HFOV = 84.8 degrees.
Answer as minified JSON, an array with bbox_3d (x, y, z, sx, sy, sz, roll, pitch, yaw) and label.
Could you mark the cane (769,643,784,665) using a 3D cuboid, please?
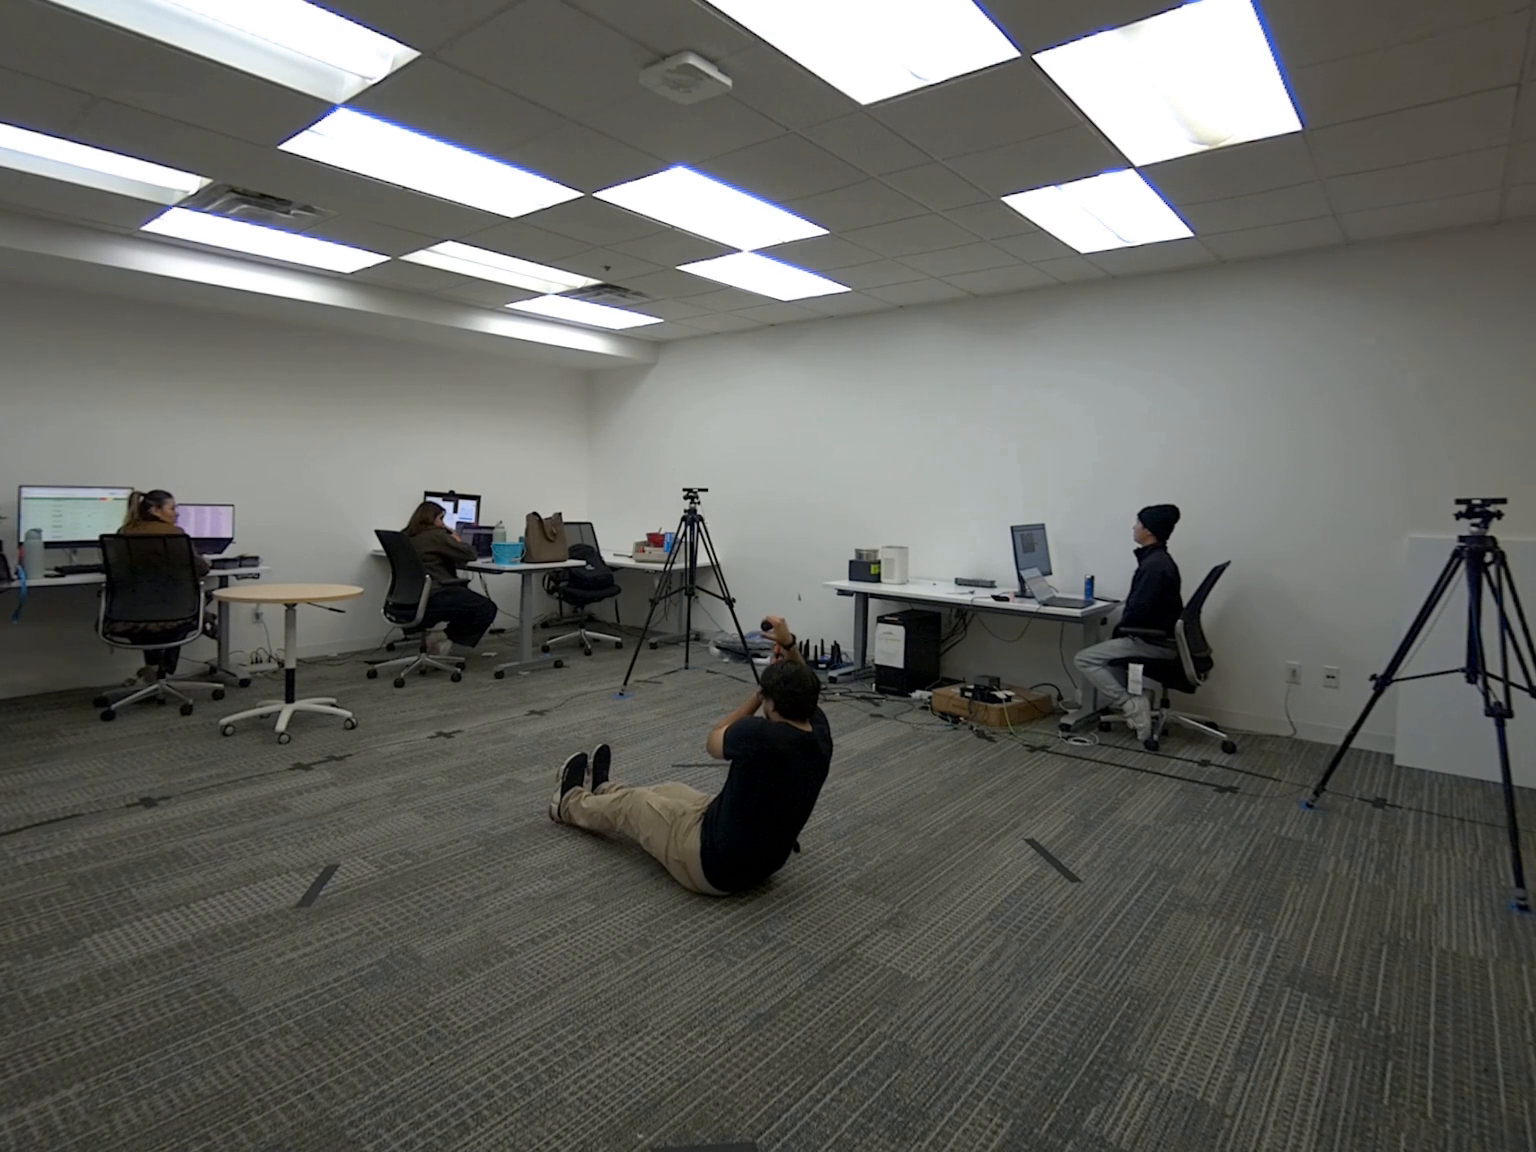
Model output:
[{"bbox_3d":[0.024,0.610,3.207,0.155,0.904,0.202,3,5,24],"label":"cane"}]
